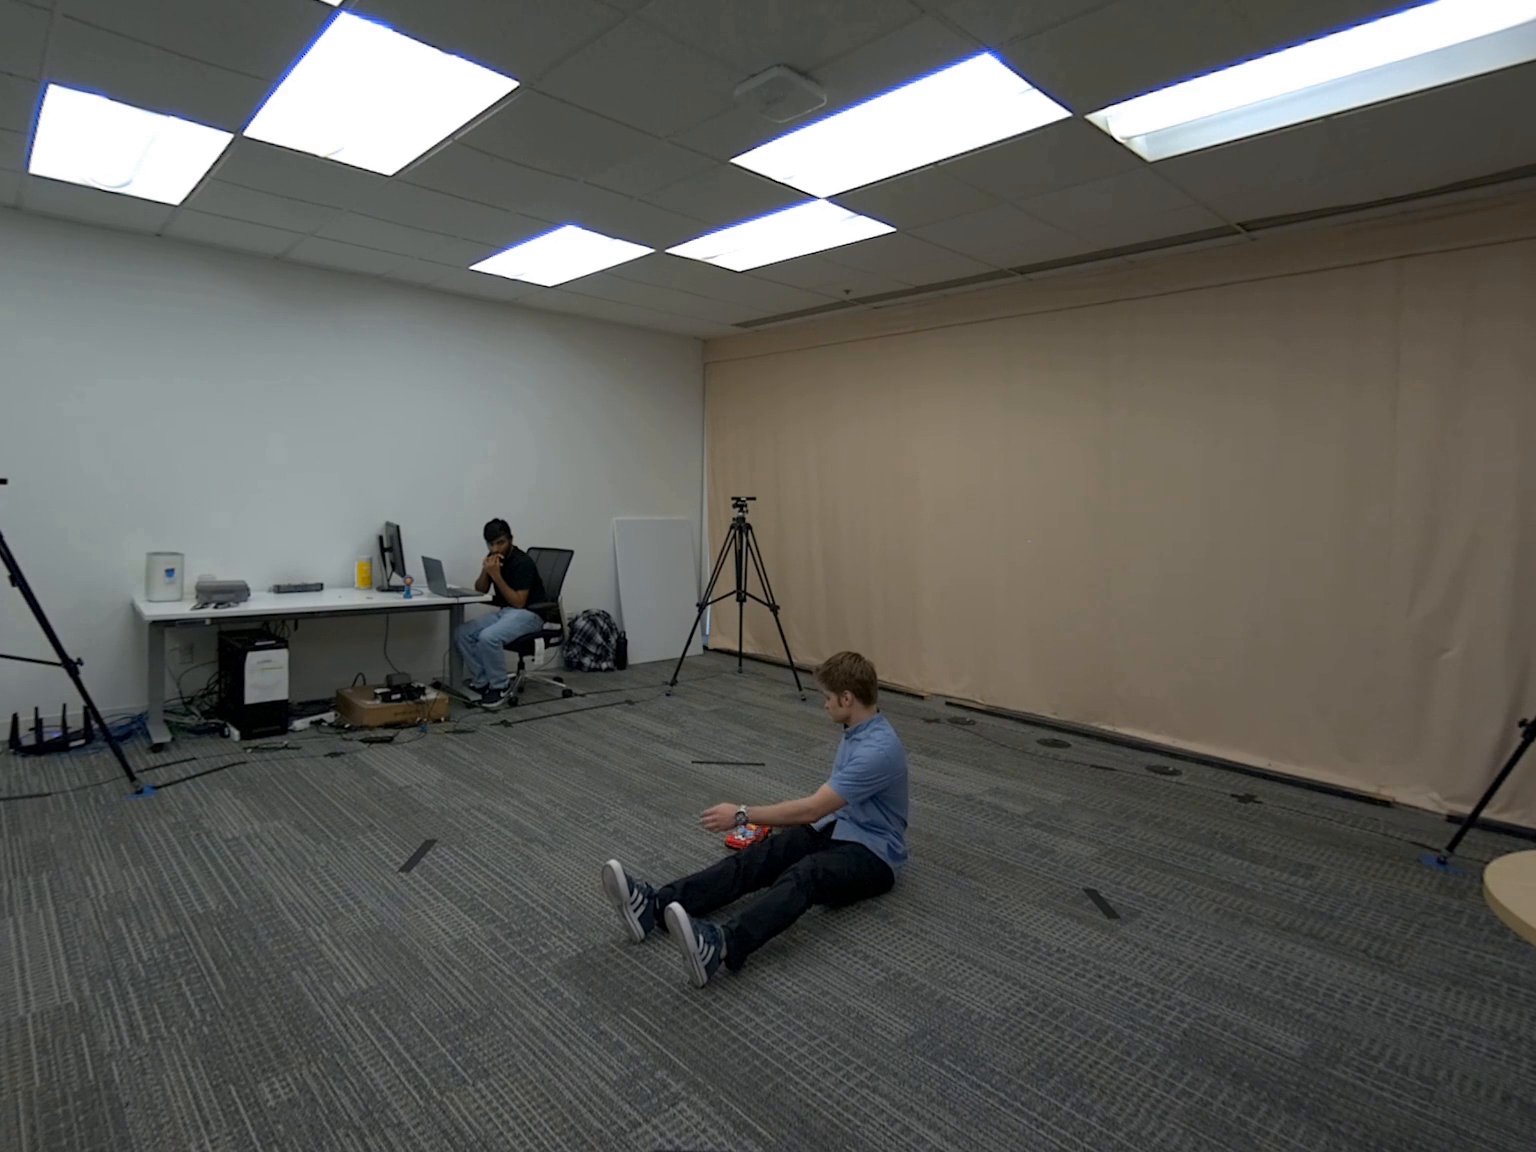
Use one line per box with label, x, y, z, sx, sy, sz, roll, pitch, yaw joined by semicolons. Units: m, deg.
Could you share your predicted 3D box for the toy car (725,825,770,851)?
toy car;-0.078;1.056;3.429;0.133;0.082;0.252;0;12;27
